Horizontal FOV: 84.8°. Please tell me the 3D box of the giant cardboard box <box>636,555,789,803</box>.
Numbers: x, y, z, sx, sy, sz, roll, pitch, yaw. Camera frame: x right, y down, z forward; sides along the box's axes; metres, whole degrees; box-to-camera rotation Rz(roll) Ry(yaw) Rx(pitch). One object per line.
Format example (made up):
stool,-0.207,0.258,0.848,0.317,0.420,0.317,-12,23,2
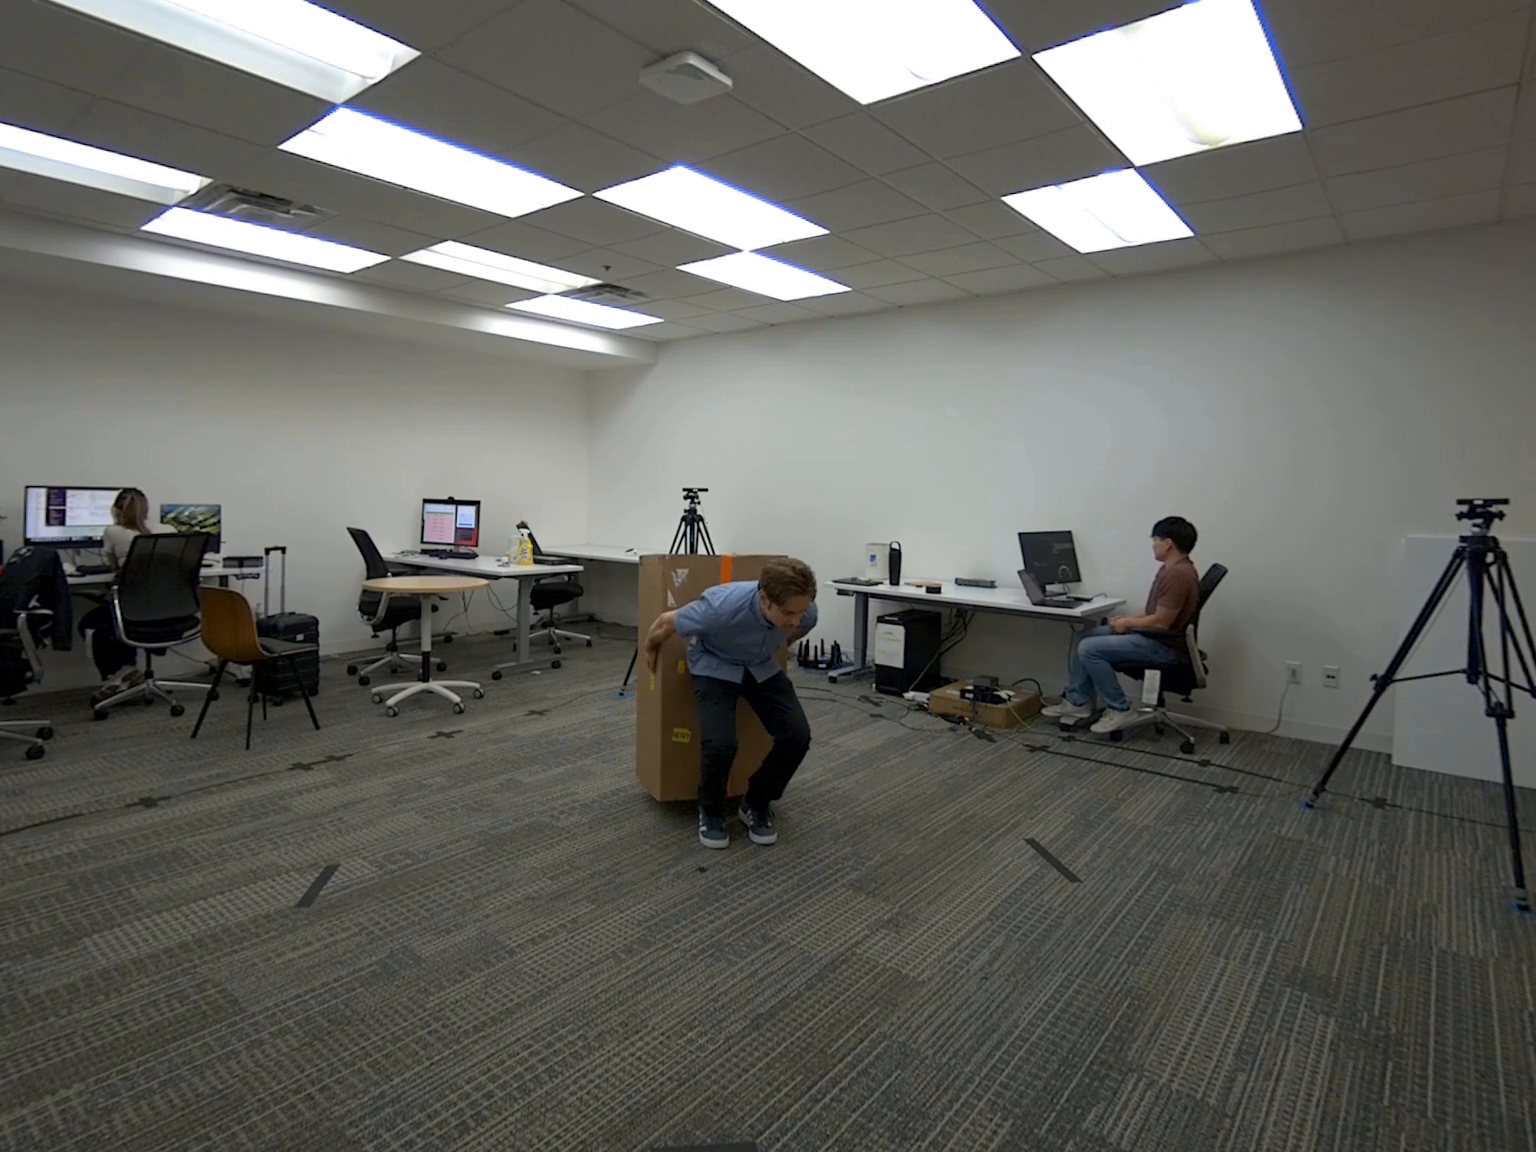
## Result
giant cardboard box,-0.273,0.411,3.815,0.571,1.029,0.456,1,-2,-22
